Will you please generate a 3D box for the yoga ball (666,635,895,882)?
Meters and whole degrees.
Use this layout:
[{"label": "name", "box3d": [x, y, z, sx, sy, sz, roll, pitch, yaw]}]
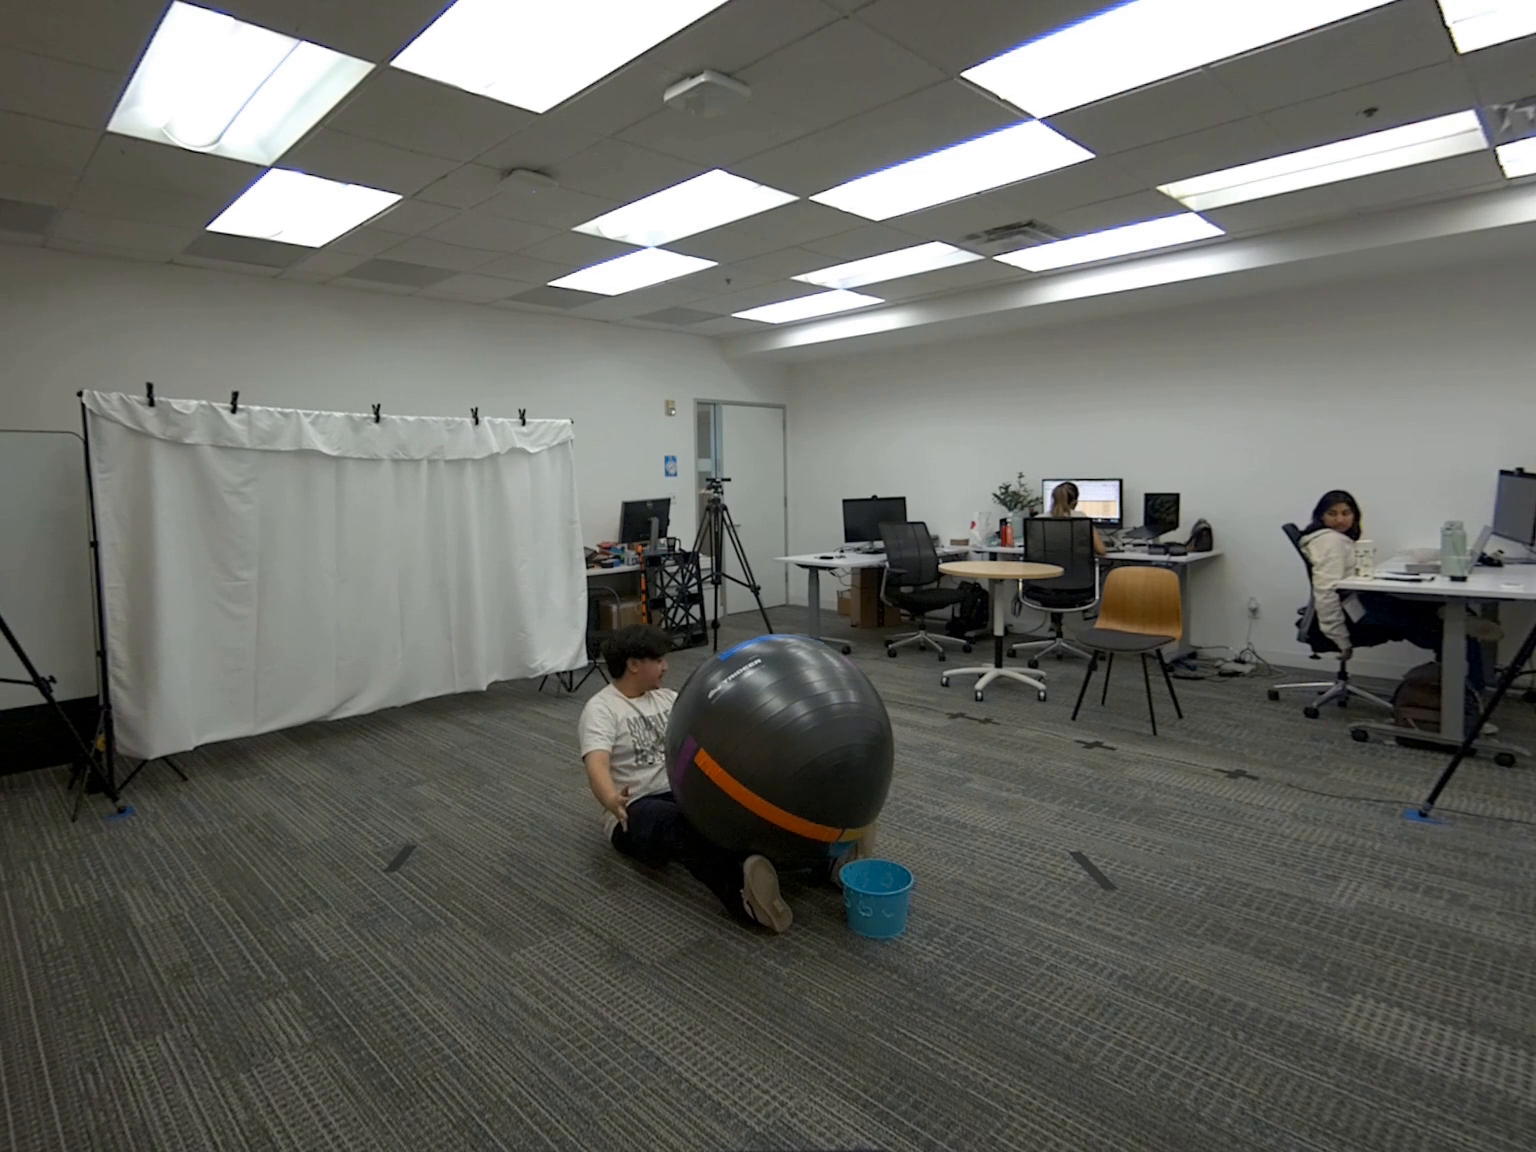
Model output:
[{"label": "yoga ball", "box3d": [0.037, 0.574, 2.846, 0.757, 0.755, 0.762, -1, 5, -2]}]
